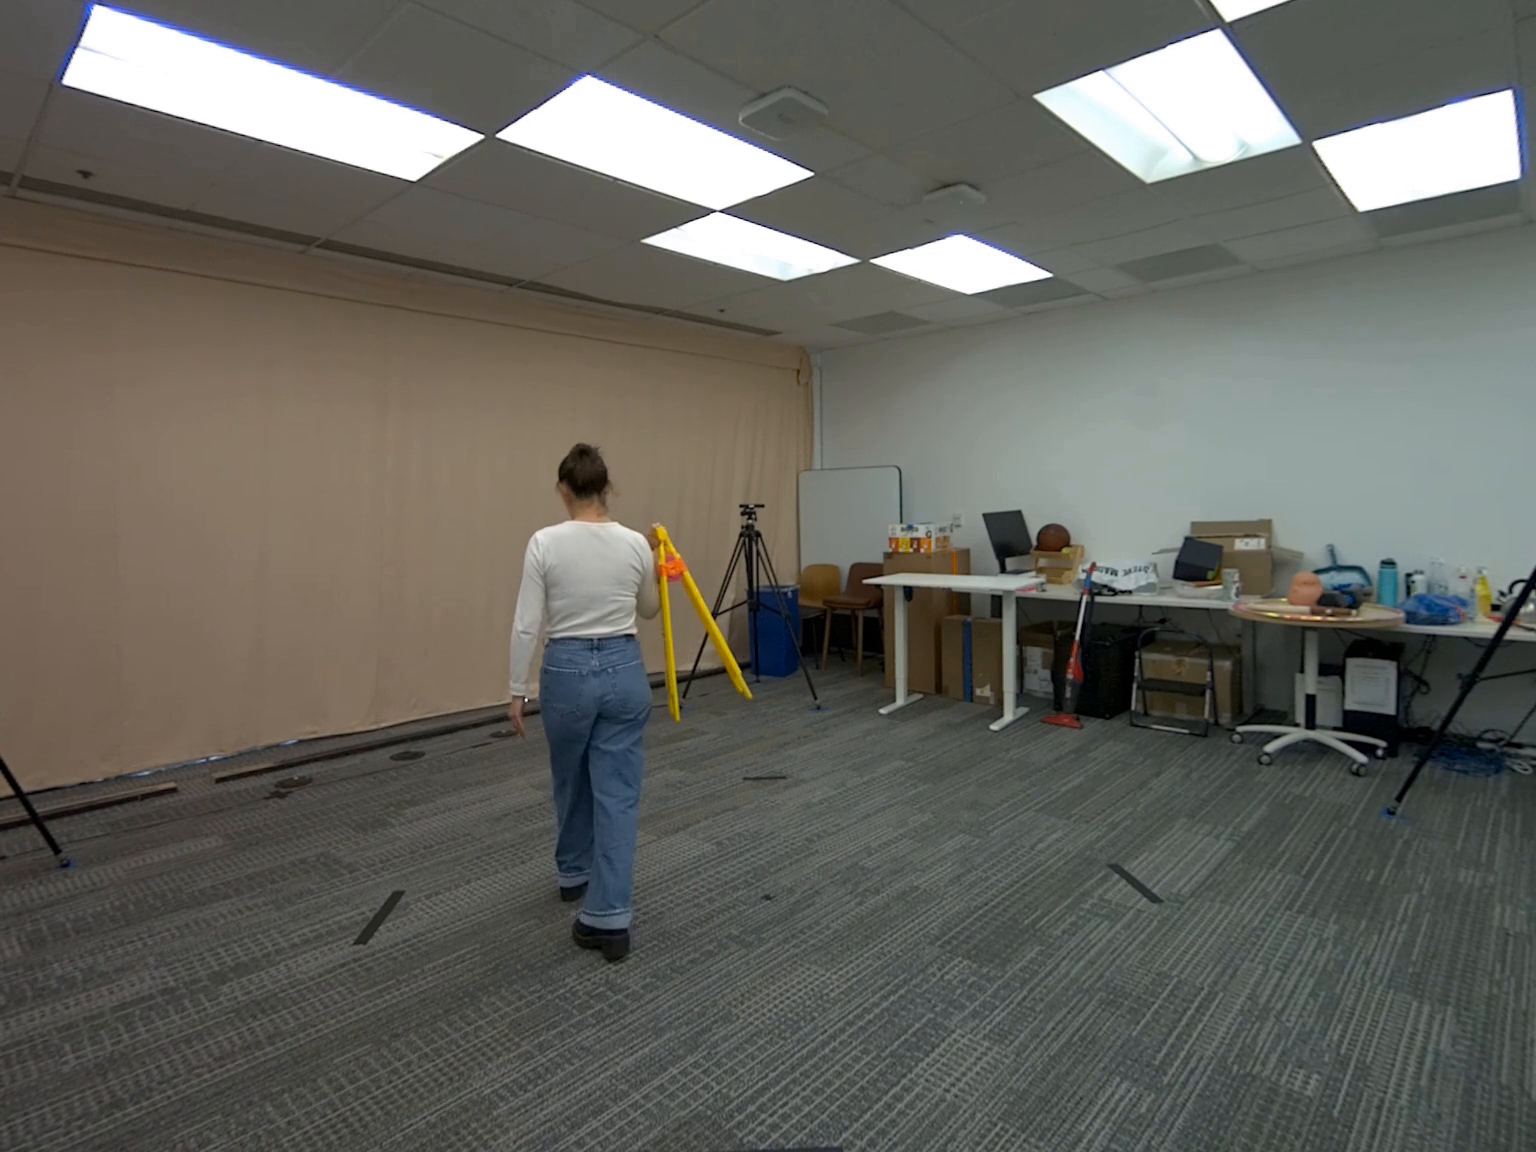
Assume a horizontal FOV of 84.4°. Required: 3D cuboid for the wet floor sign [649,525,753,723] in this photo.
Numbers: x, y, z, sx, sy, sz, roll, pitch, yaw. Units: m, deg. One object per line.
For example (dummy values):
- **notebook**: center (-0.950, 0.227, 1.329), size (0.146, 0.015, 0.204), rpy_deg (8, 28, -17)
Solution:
- **wet floor sign**: center (-0.293, 0.138, 2.952), size (0.287, 0.647, 0.284), rpy_deg (-16, -2, -9)
